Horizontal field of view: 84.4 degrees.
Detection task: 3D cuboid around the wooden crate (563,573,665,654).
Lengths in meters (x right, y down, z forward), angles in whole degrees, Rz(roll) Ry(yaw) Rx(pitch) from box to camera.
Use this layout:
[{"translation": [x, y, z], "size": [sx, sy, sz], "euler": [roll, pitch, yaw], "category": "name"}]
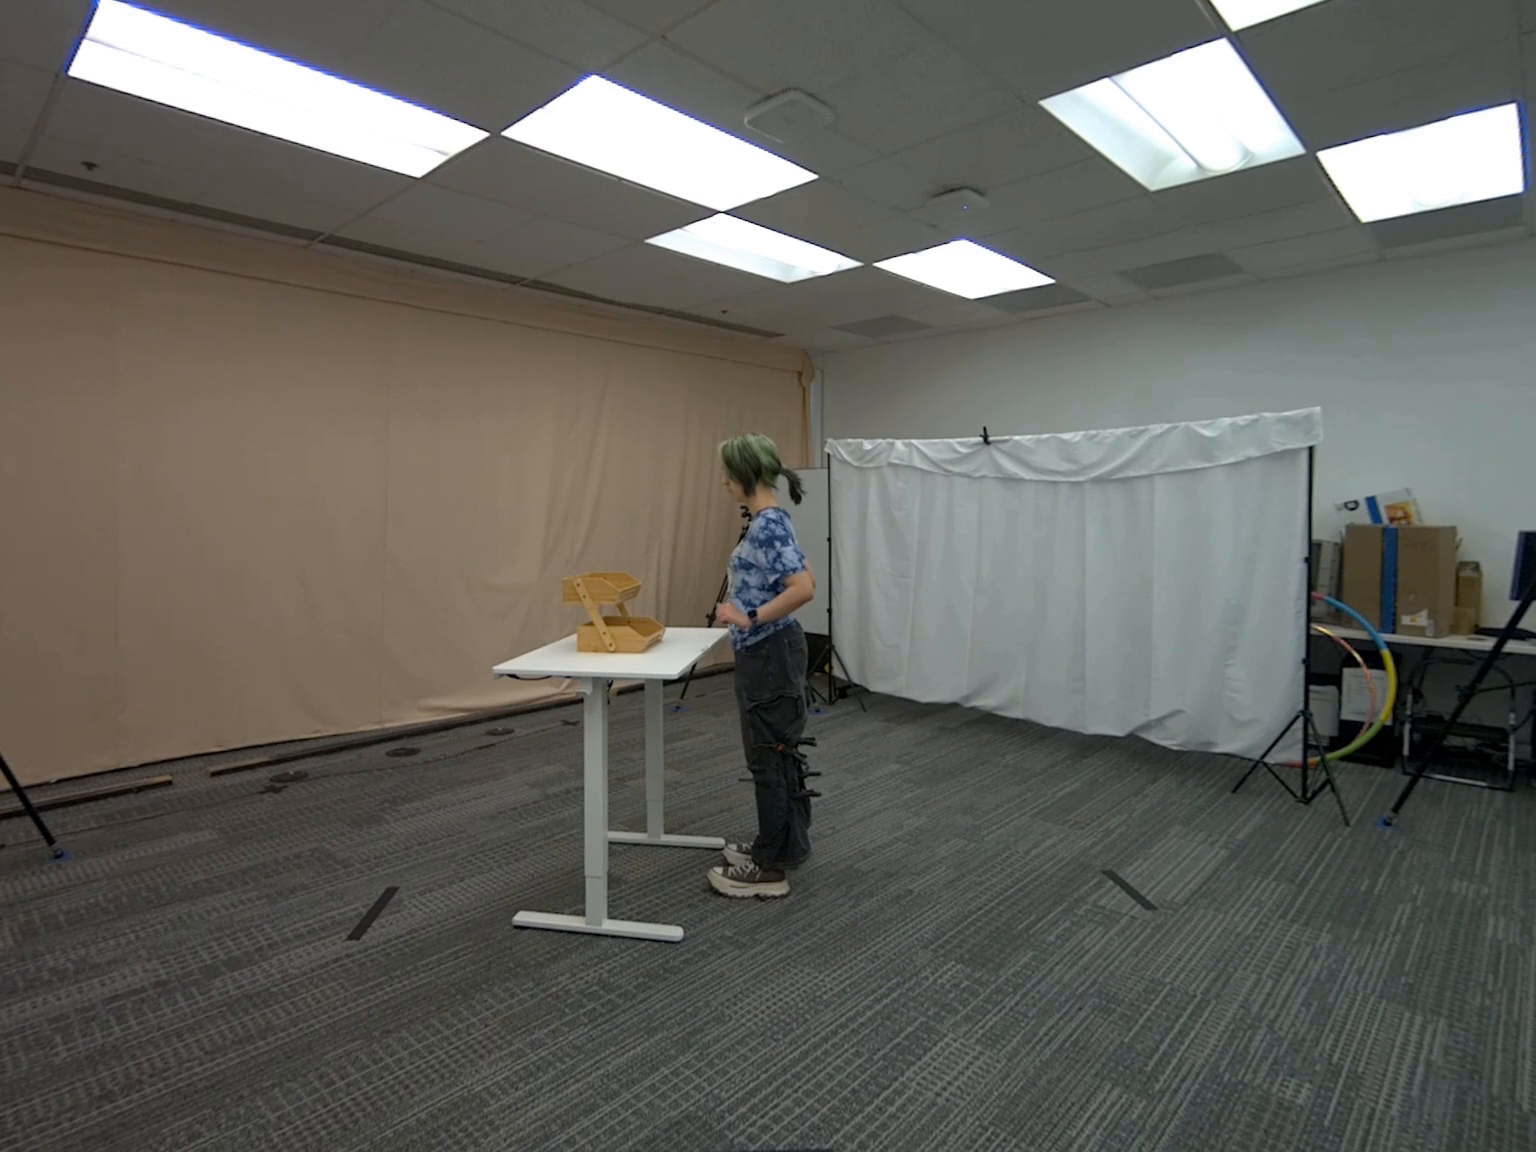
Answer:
[{"translation": [-0.554, 0.126, 3.085], "size": [0.305, 0.273, 0.322], "euler": [-1, 3, 8], "category": "wooden crate"}]
